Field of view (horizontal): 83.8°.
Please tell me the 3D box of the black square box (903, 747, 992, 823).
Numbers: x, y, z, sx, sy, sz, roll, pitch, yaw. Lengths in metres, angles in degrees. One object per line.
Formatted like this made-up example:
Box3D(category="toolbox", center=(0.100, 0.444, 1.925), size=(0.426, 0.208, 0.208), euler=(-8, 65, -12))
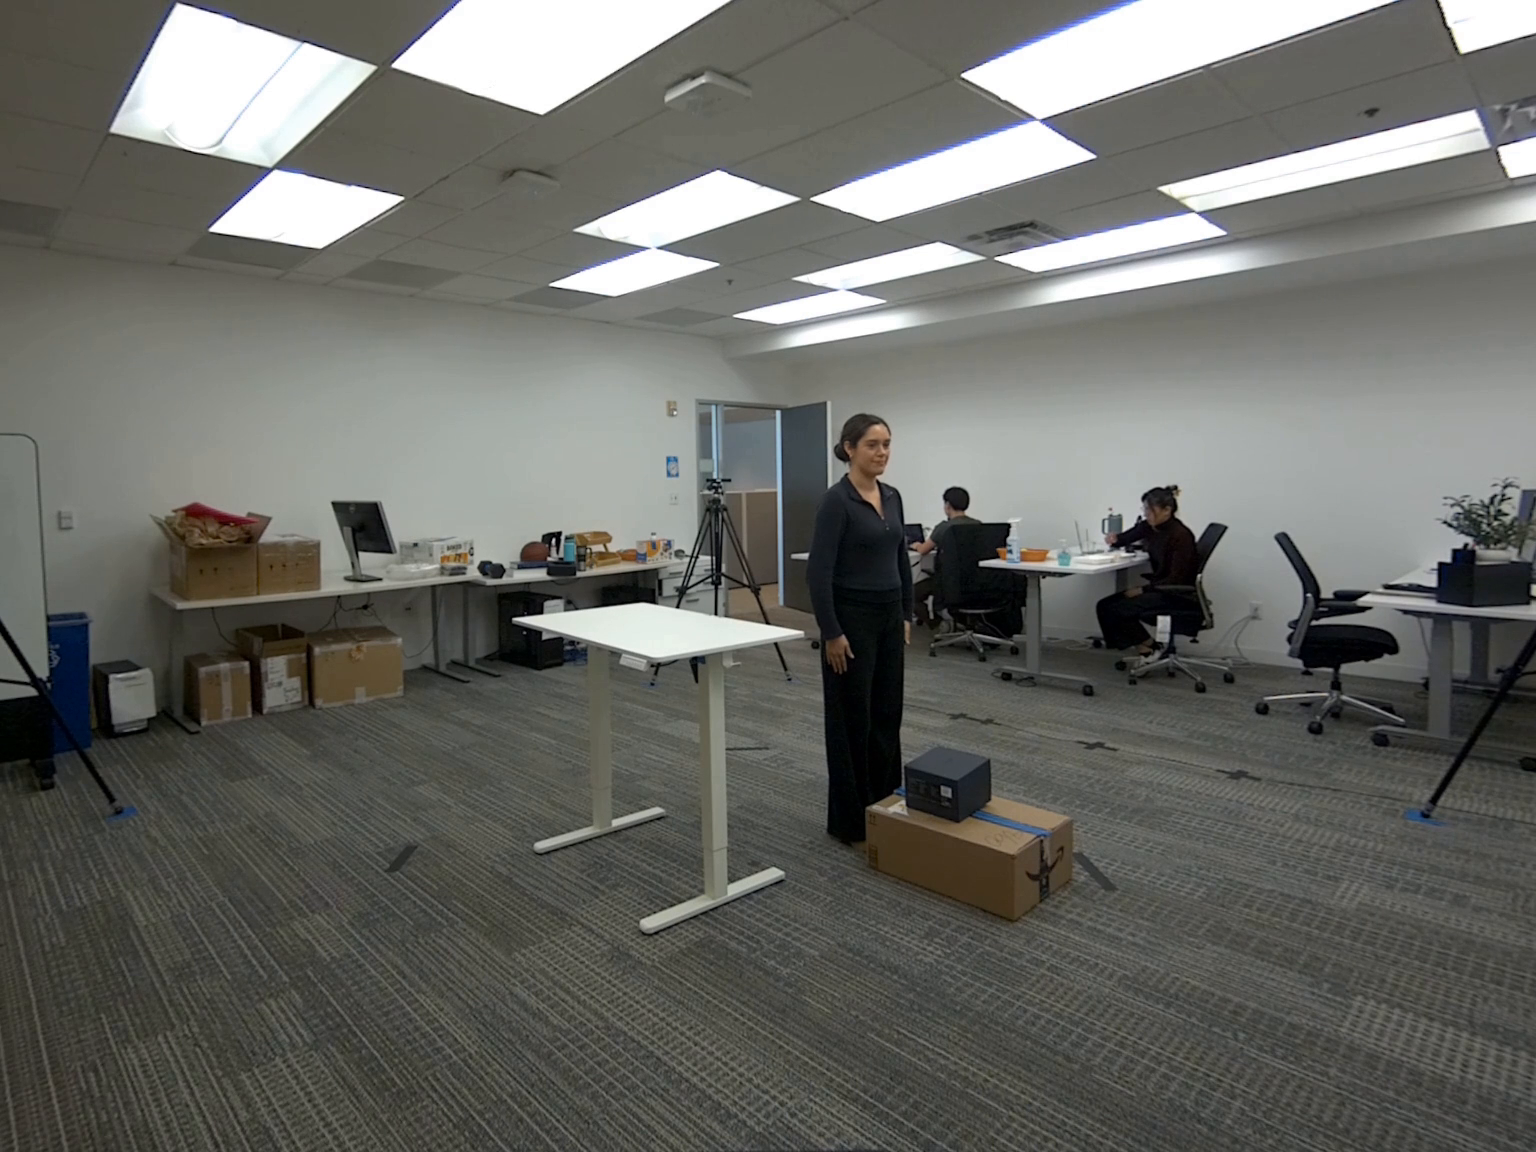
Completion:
Box3D(category="black square box", center=(0.639, 0.733, 3.038), size=(0.224, 0.155, 0.223), euler=(4, 12, 44))
